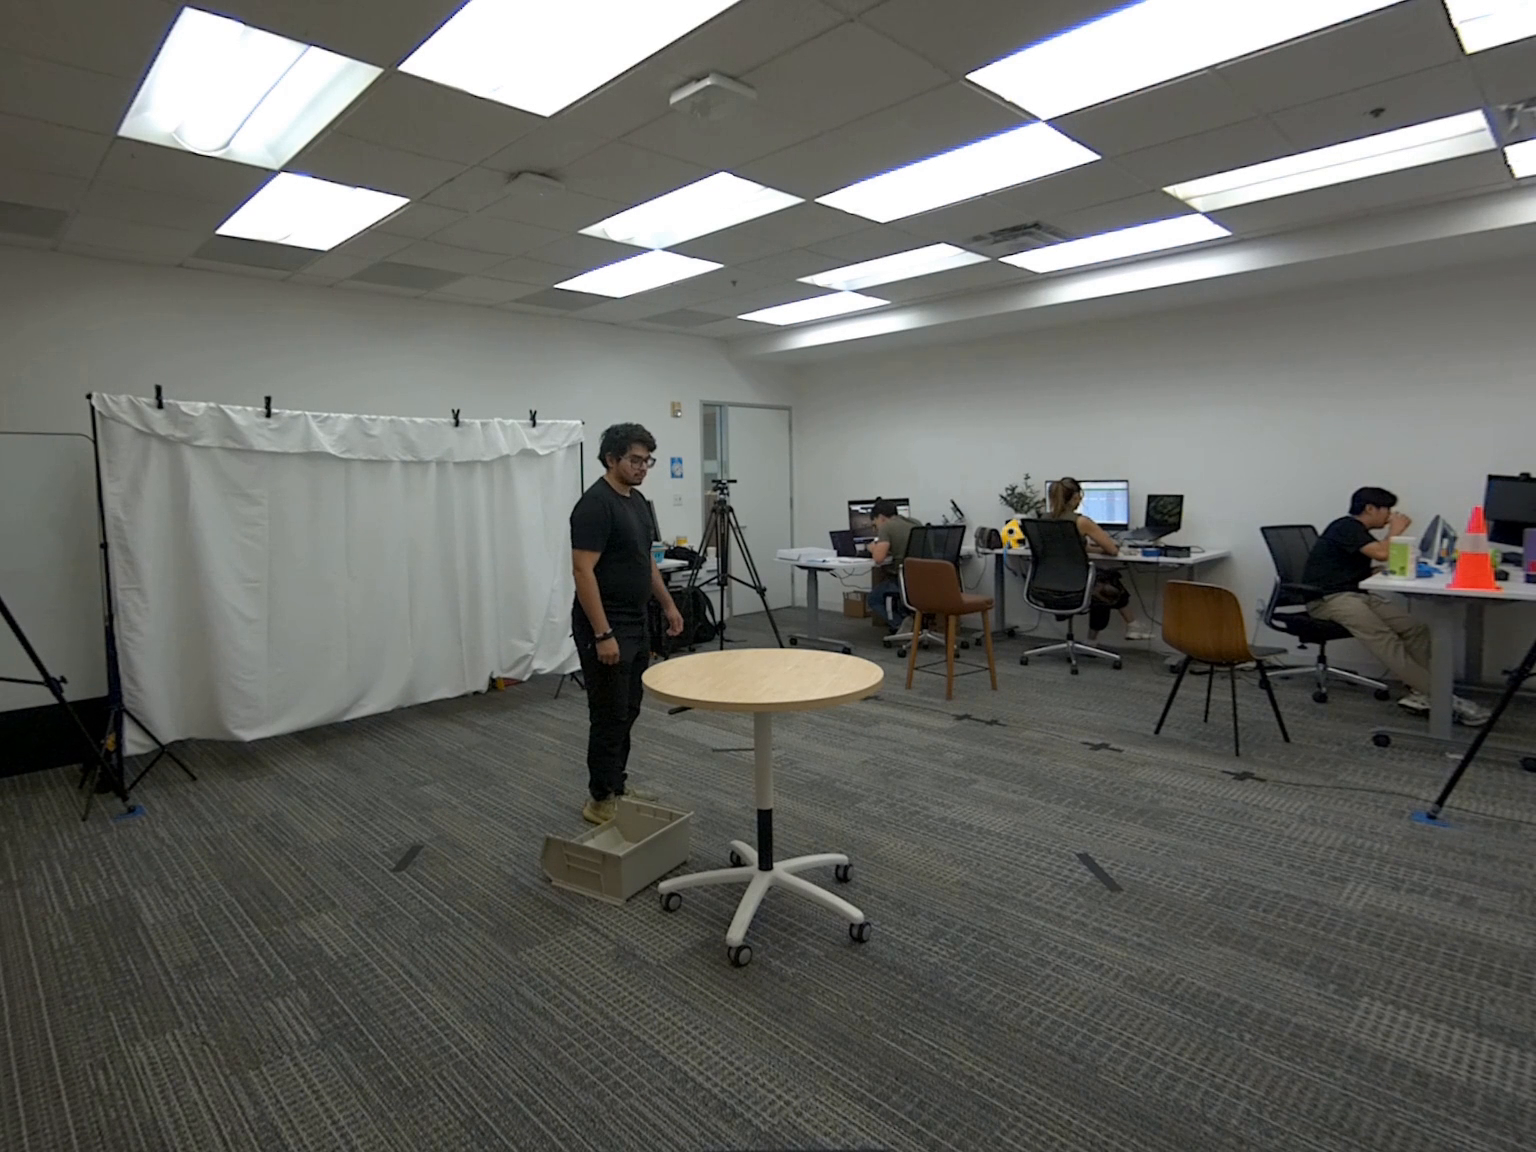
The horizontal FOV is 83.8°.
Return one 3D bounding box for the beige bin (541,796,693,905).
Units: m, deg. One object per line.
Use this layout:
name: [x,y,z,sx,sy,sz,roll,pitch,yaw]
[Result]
beige bin: [-0.534,0.973,3.070,0.388,0.188,0.413,3,7,31]
